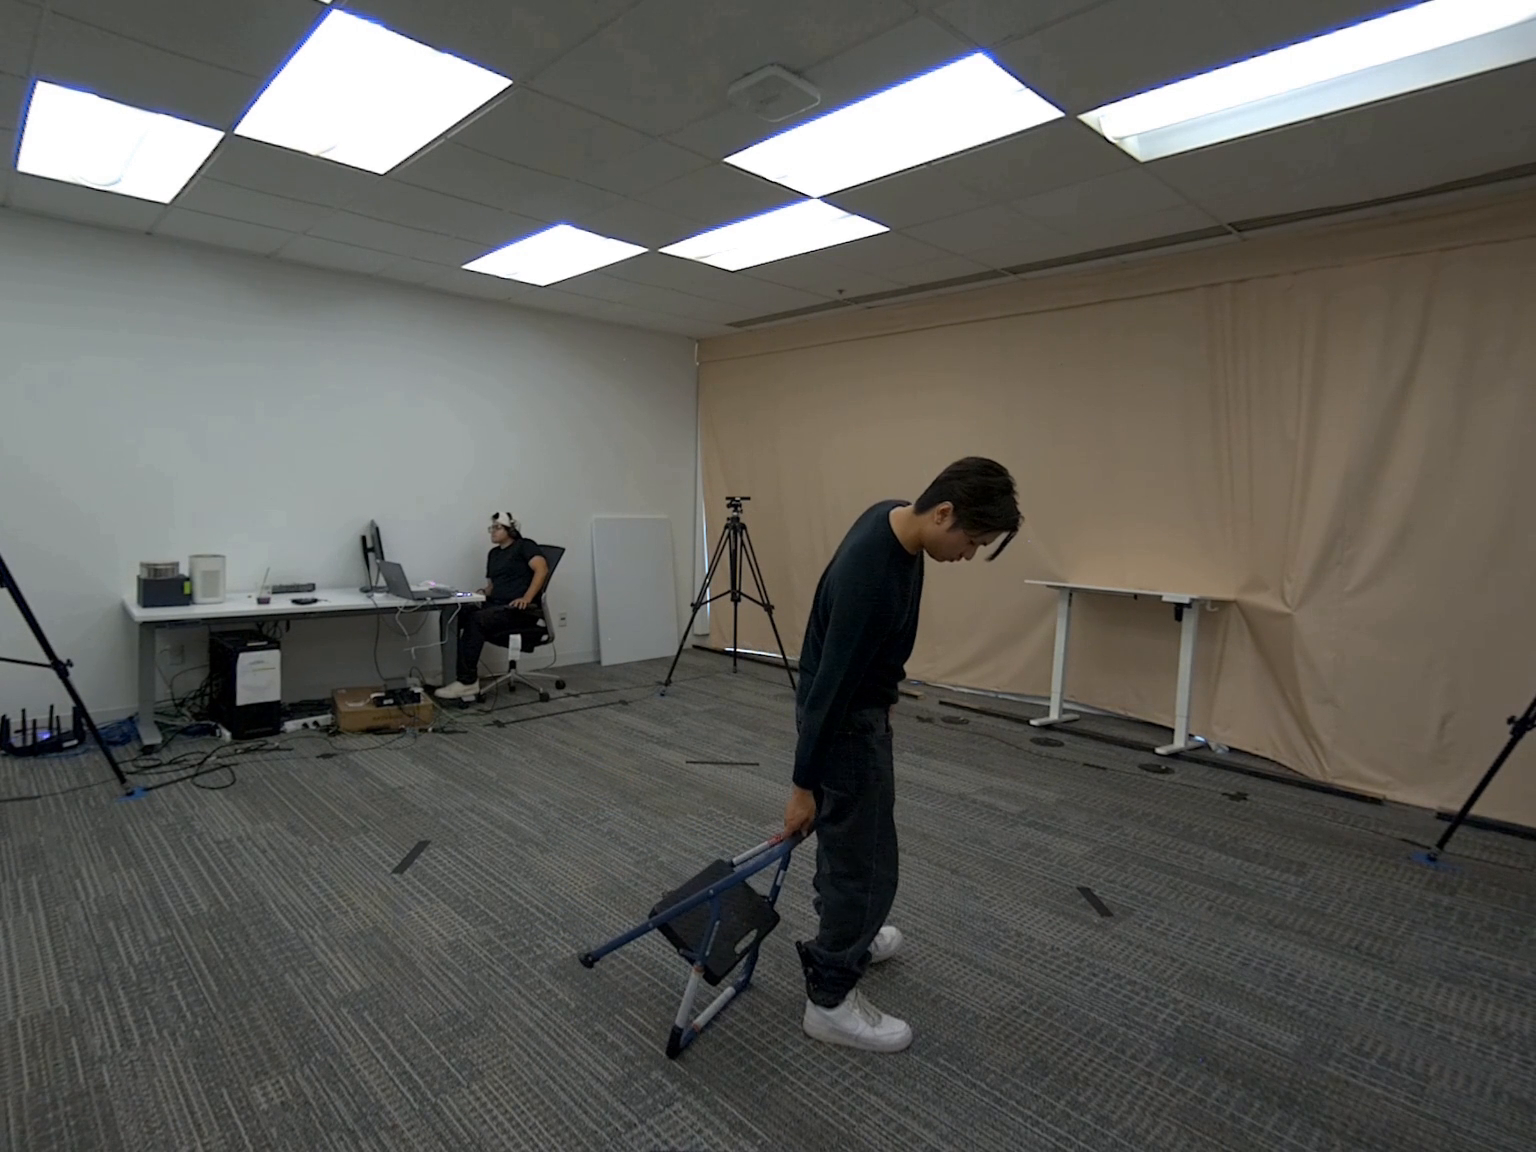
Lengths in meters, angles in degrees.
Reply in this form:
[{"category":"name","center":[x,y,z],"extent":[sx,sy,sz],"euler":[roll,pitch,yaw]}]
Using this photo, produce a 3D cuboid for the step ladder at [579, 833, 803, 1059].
[{"category":"step ladder","center":[-0.126,0.849,2.217],"extent":[0.357,0.603,0.423],"euler":[38,19,20]}]
